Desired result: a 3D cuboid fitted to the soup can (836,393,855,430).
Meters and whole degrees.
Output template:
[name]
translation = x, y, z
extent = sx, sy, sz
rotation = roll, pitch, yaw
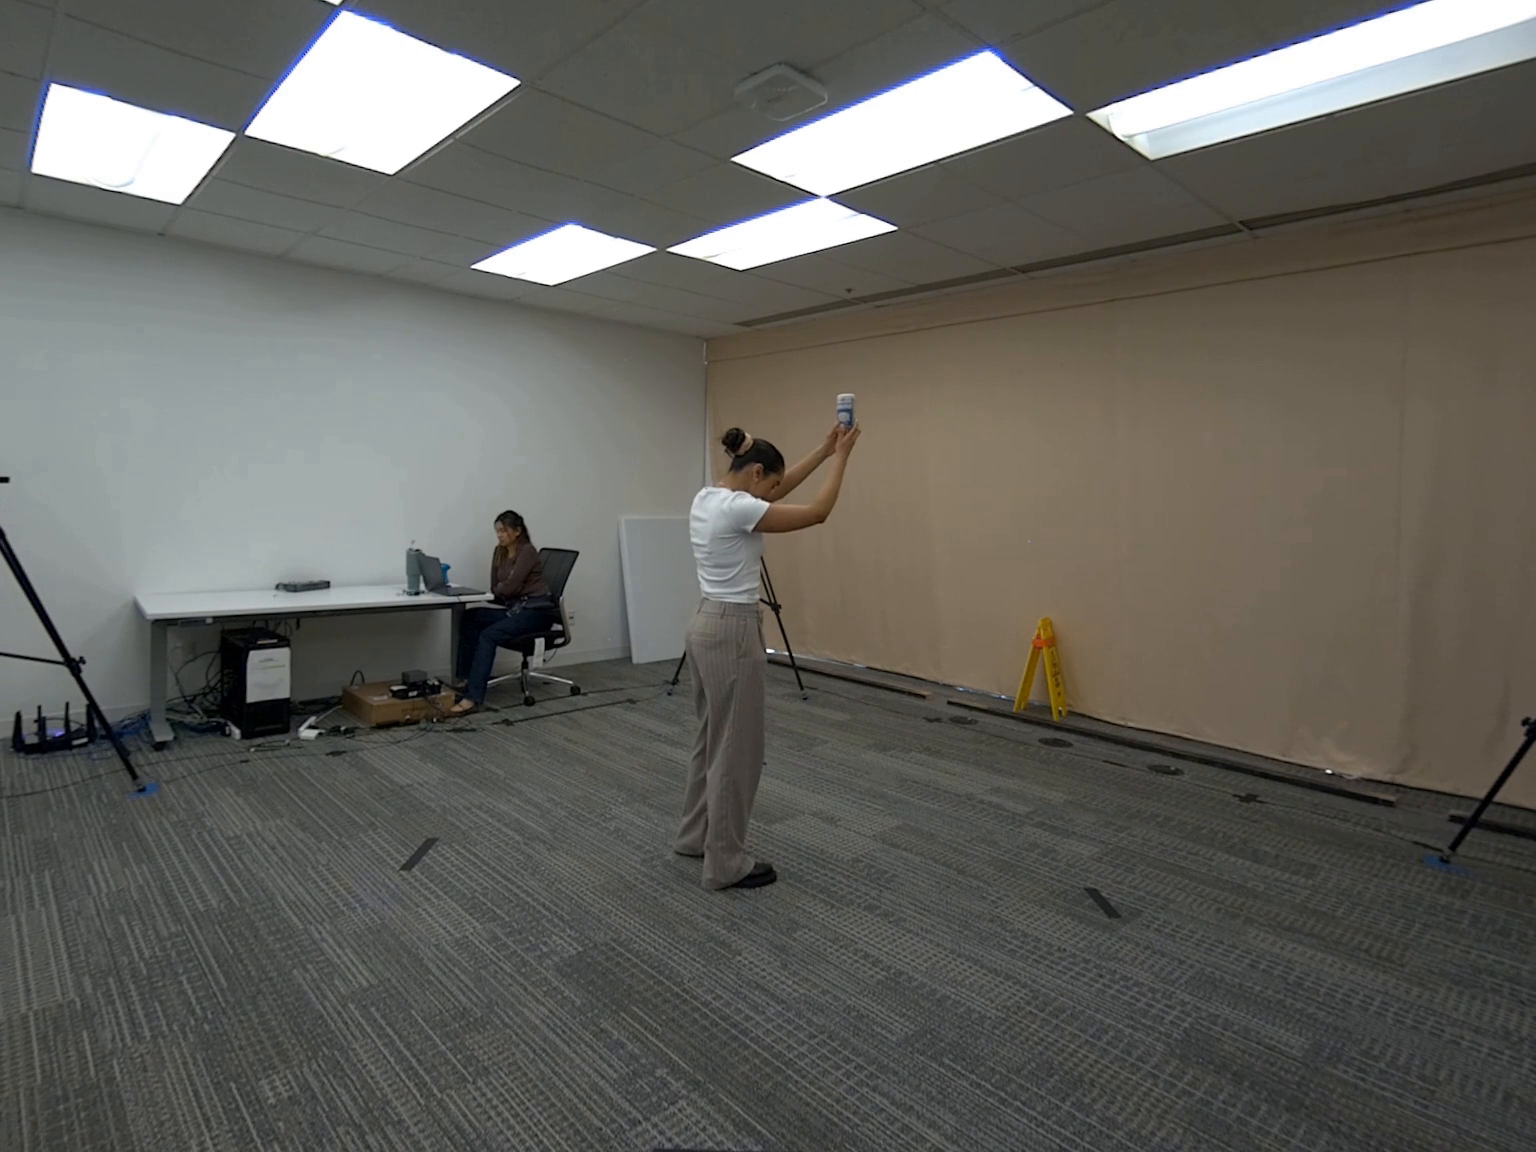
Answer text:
[soup can]
translation = 0.280, -0.600, 3.069
extent = 0.067, 0.121, 0.067
rotation = -1, 1, -1
